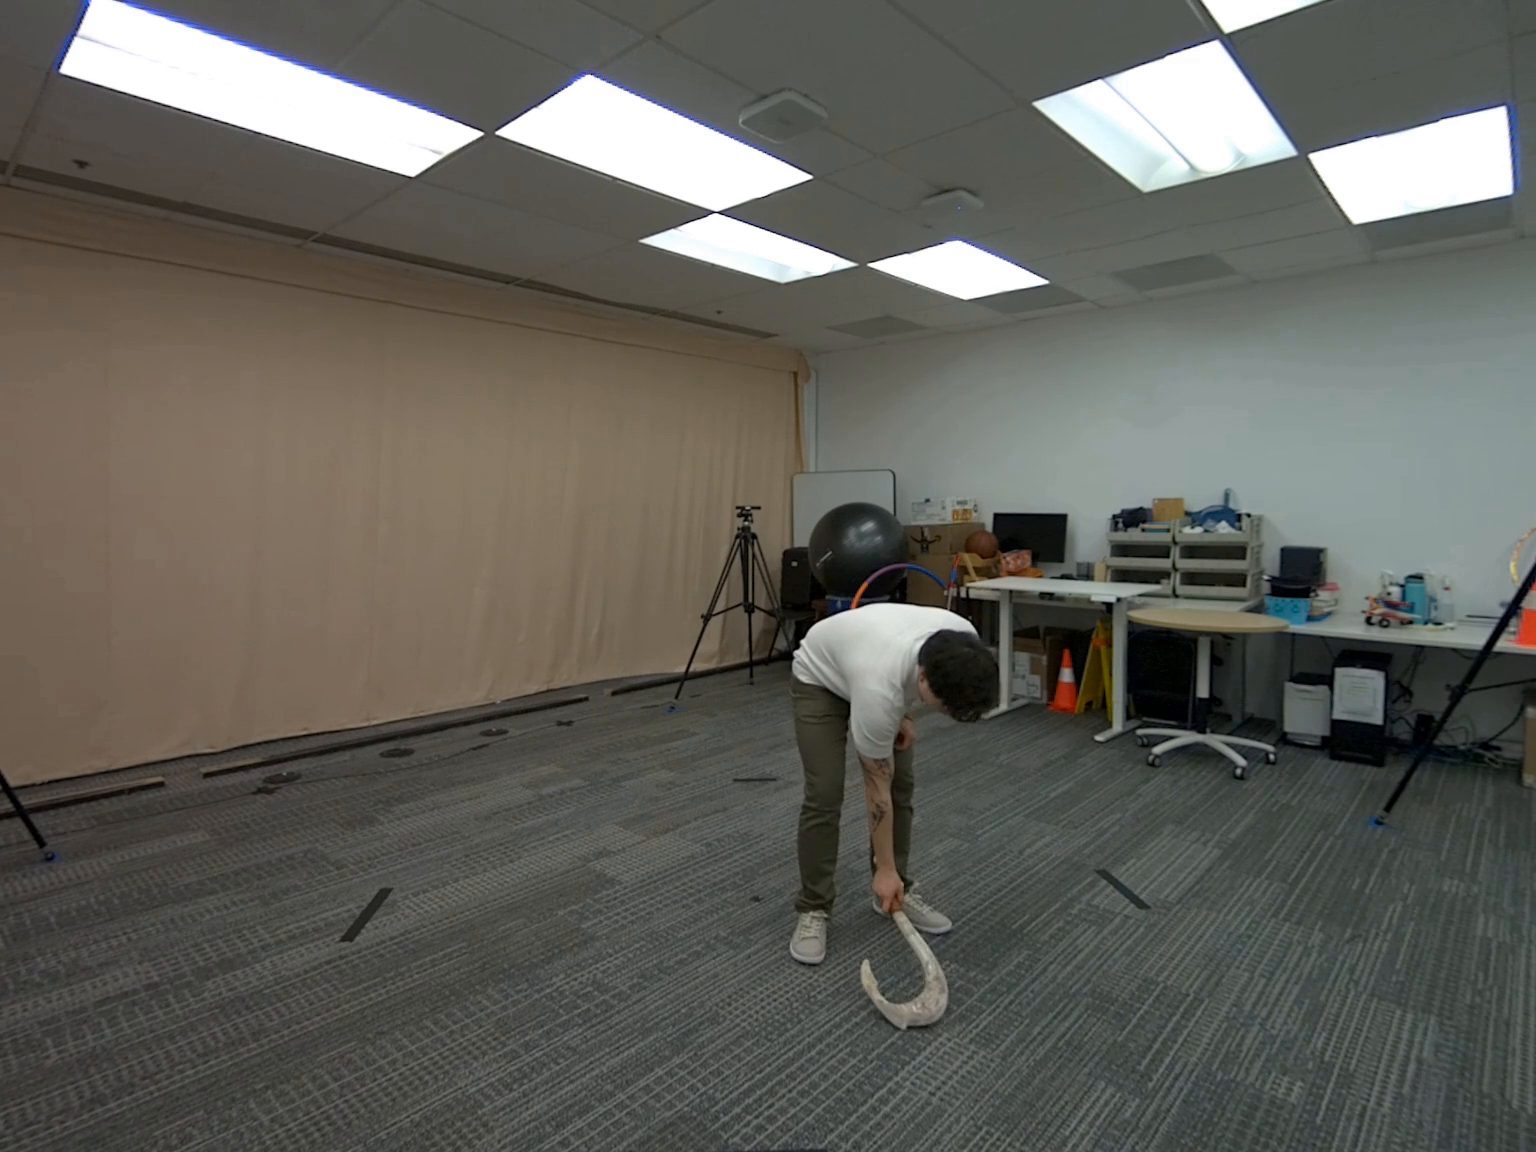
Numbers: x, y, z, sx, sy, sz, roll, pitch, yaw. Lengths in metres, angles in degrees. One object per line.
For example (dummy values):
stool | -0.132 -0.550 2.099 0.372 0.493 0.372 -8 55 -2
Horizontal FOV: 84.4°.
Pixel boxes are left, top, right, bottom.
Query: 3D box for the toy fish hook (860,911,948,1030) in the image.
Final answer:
toy fish hook | 0.353 1.032 2.441 0.223 0.047 0.519 -6 38 -8
